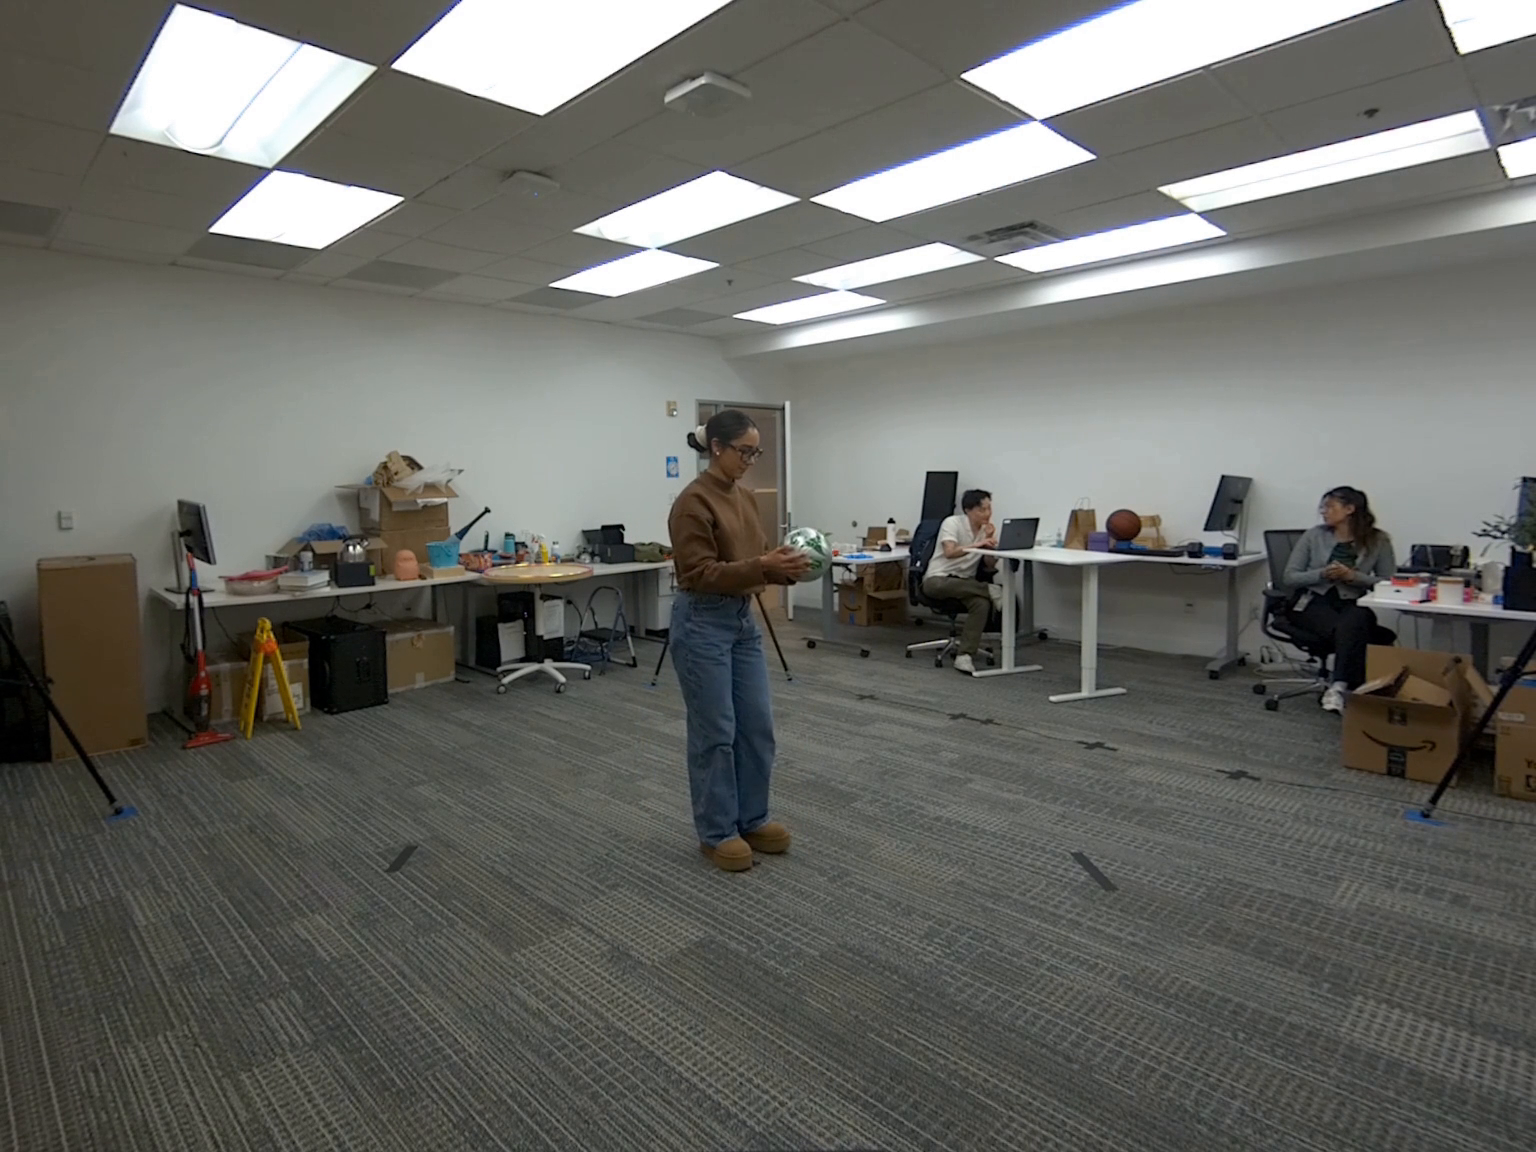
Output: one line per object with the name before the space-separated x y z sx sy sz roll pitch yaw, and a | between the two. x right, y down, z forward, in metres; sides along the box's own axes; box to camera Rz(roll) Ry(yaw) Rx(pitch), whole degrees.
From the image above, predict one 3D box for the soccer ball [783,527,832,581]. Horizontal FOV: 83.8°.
soccer ball | 0.130 -0.071 2.922 0.187 0.187 0.188 -1 5 -2
